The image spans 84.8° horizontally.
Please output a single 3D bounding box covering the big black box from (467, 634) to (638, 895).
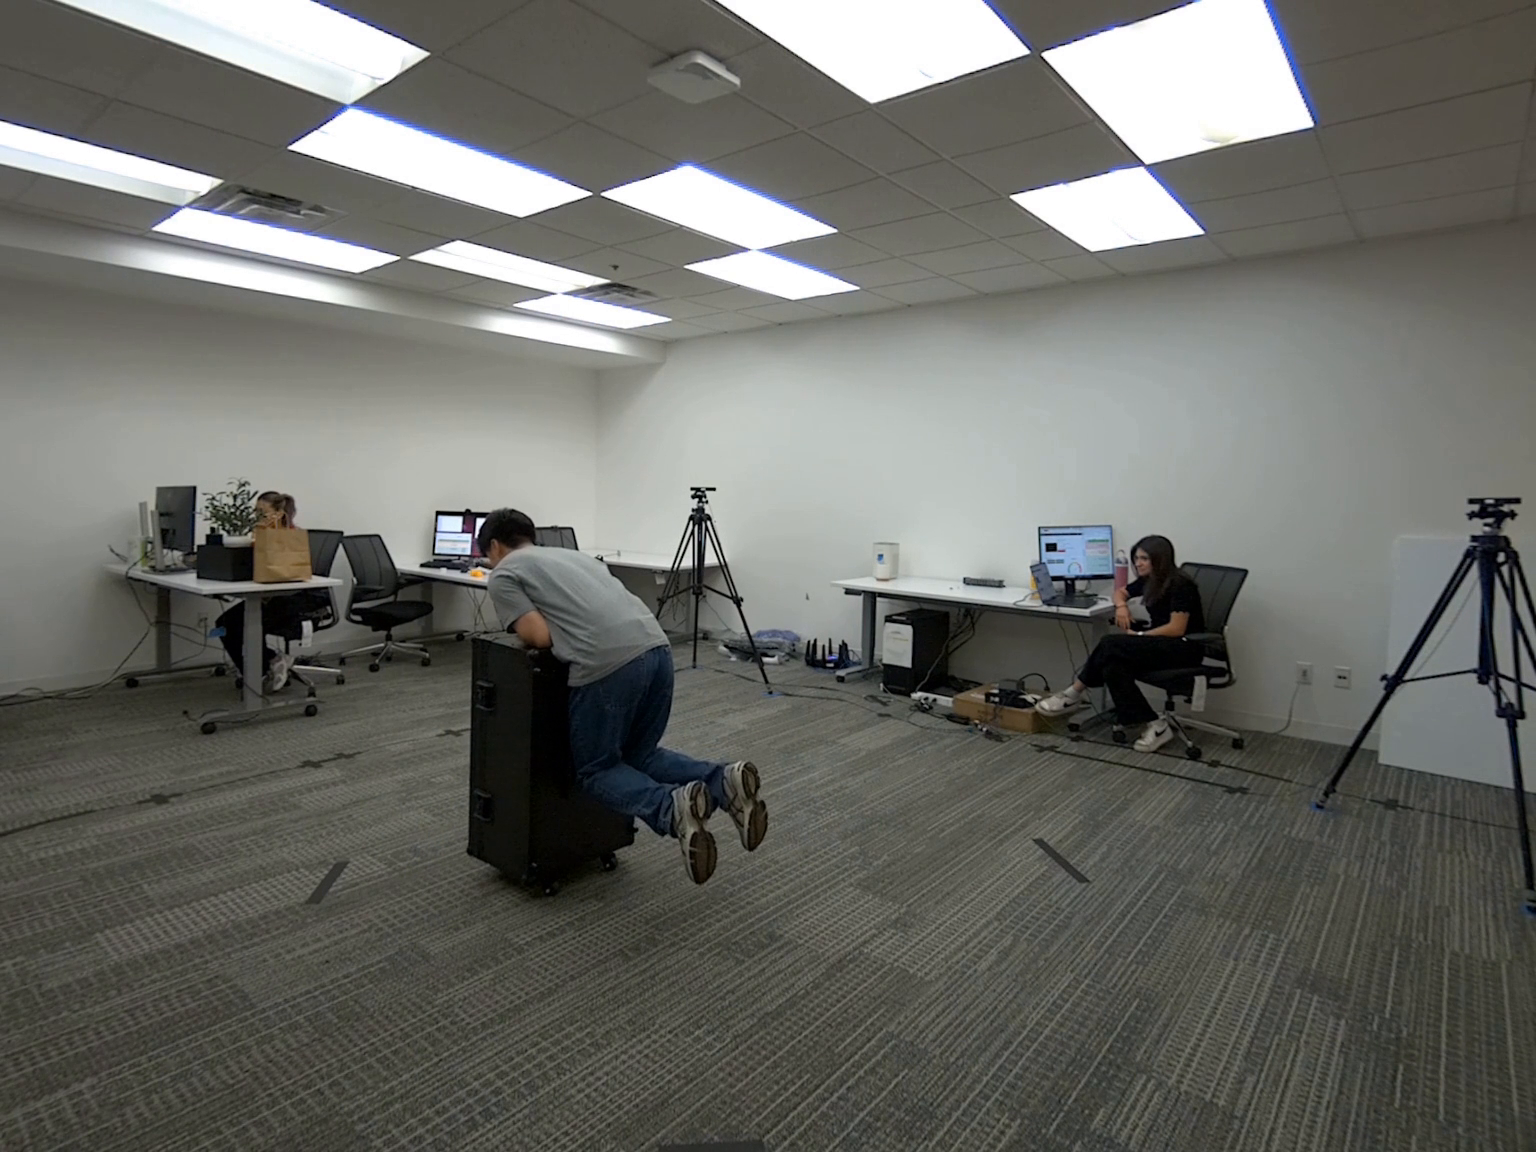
[{"bbox_3d":[-0.769,0.634,3.053,0.410,0.858,0.505,6,5,39],"label":"big black box"}]
